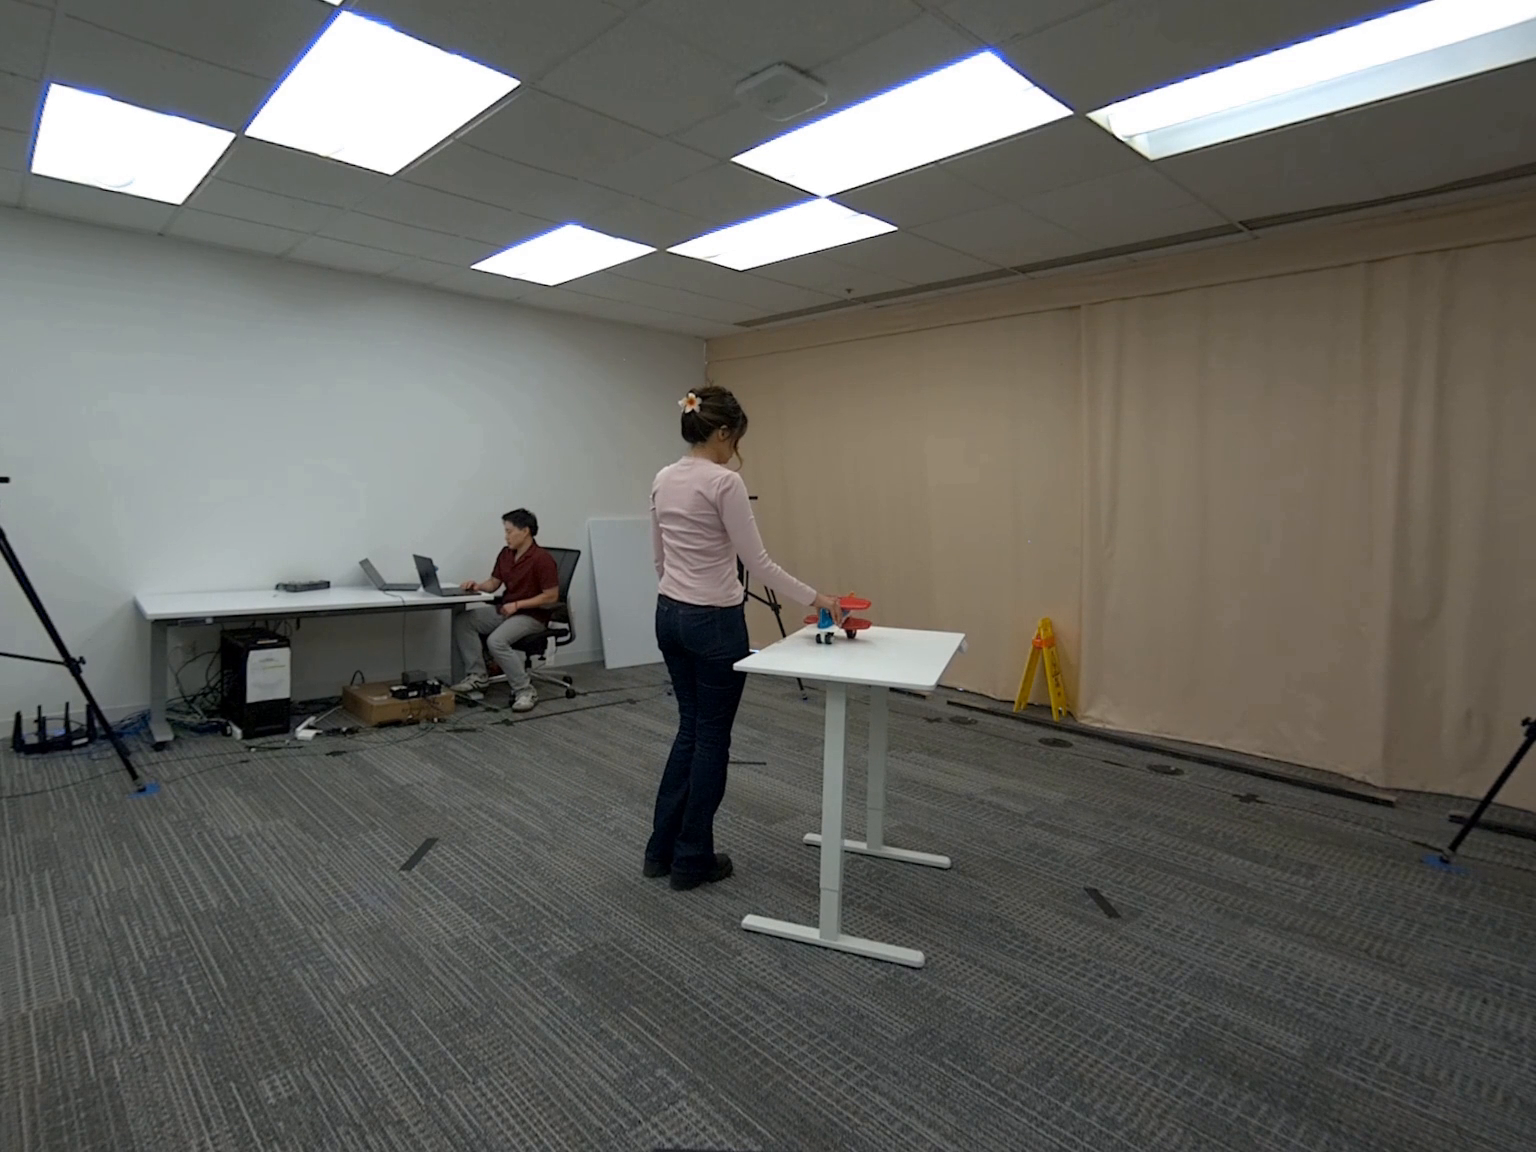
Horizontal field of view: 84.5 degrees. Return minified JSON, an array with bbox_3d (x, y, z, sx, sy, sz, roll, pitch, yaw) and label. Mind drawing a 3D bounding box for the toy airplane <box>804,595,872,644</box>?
[{"bbox_3d":[0.250,0.159,3.053,0.251,0.156,0.260,0,4,-3],"label":"toy airplane"}]
